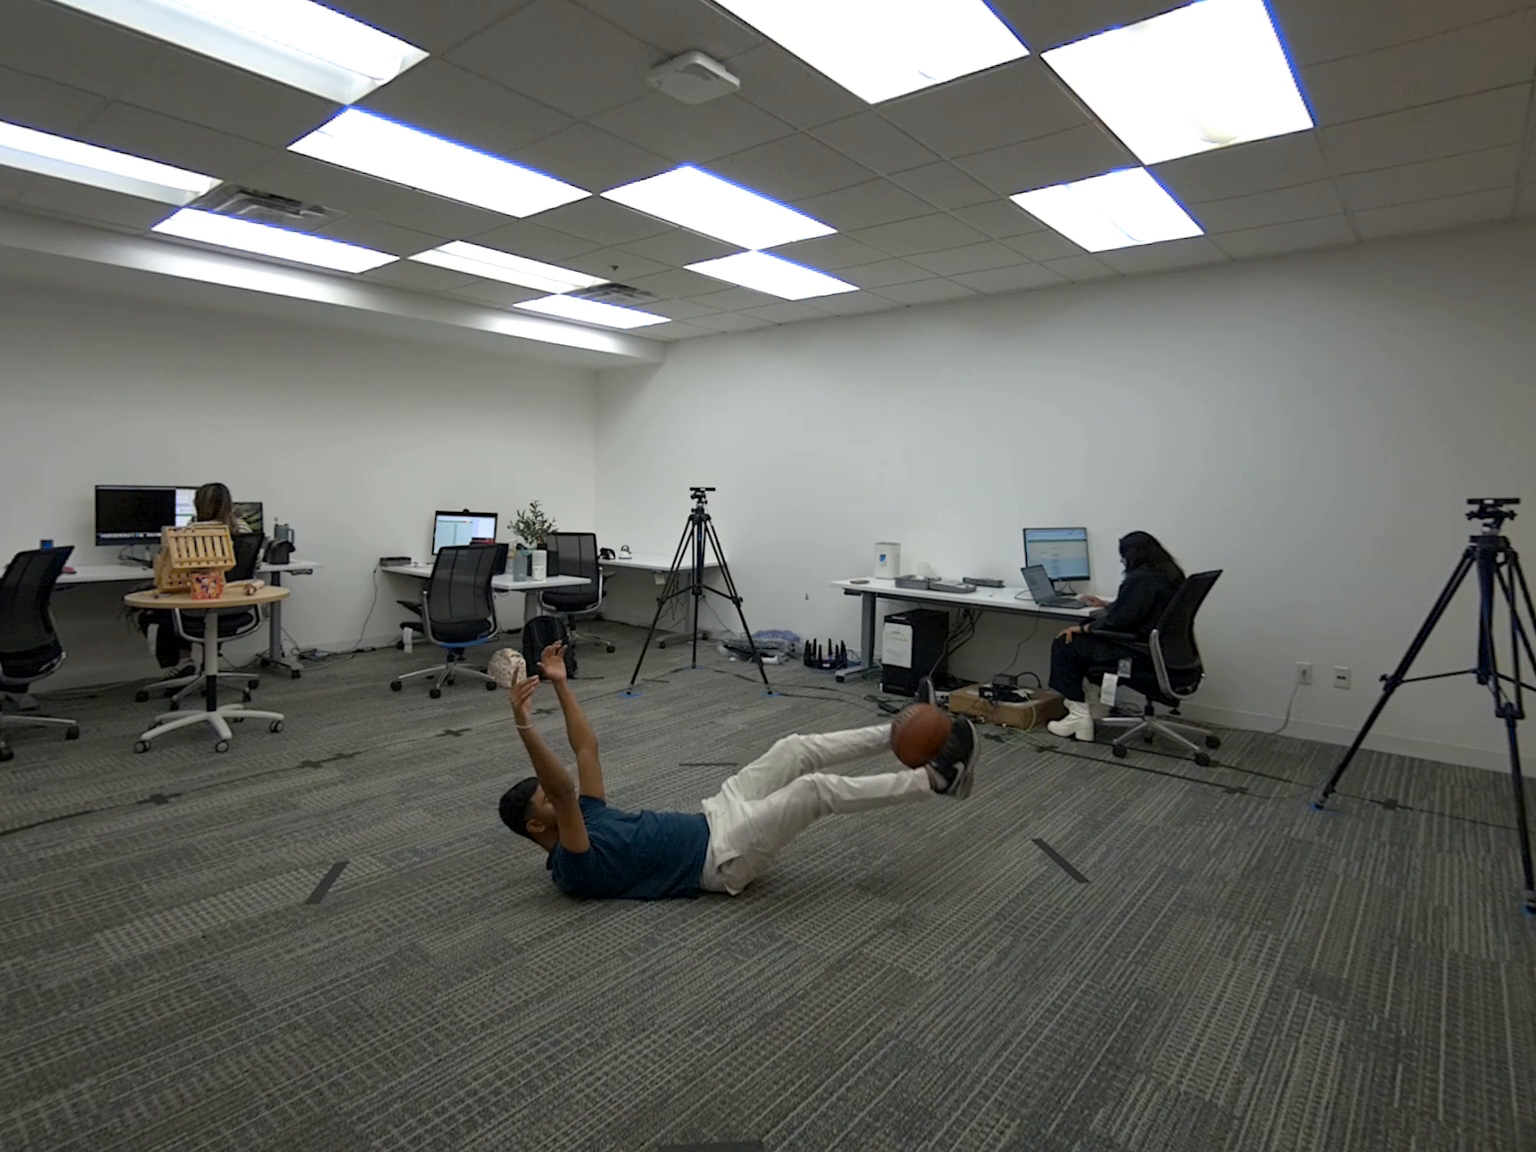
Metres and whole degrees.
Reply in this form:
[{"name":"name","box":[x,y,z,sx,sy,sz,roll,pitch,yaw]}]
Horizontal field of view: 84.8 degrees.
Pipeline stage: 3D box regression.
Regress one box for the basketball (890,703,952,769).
[{"name":"basketball","box":[0.541,0.574,3.063,0.235,0.235,0.237,1,4,-2]}]
